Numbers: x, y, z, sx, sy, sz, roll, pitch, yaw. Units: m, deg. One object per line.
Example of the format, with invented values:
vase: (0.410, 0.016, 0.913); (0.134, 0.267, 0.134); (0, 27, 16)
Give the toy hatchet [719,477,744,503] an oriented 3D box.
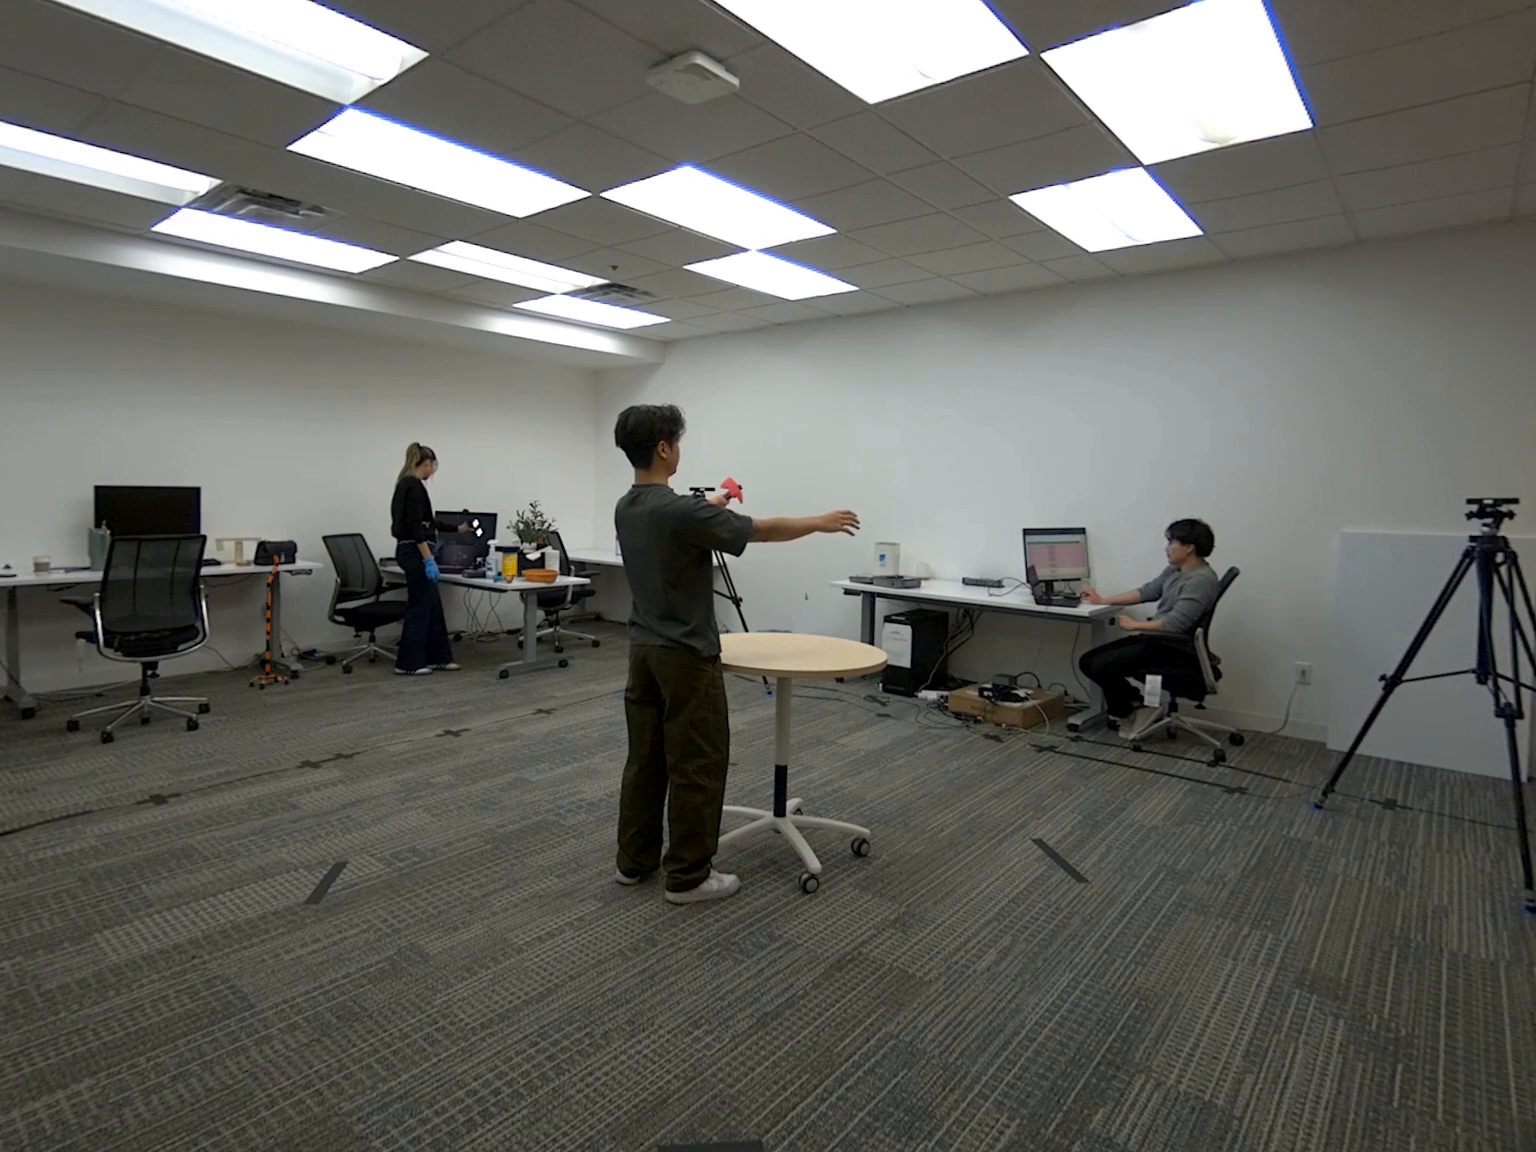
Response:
toy hatchet: (-0.238, -0.342, 3.554); (0.275, 0.133, 0.028); (-11, -15, 23)
